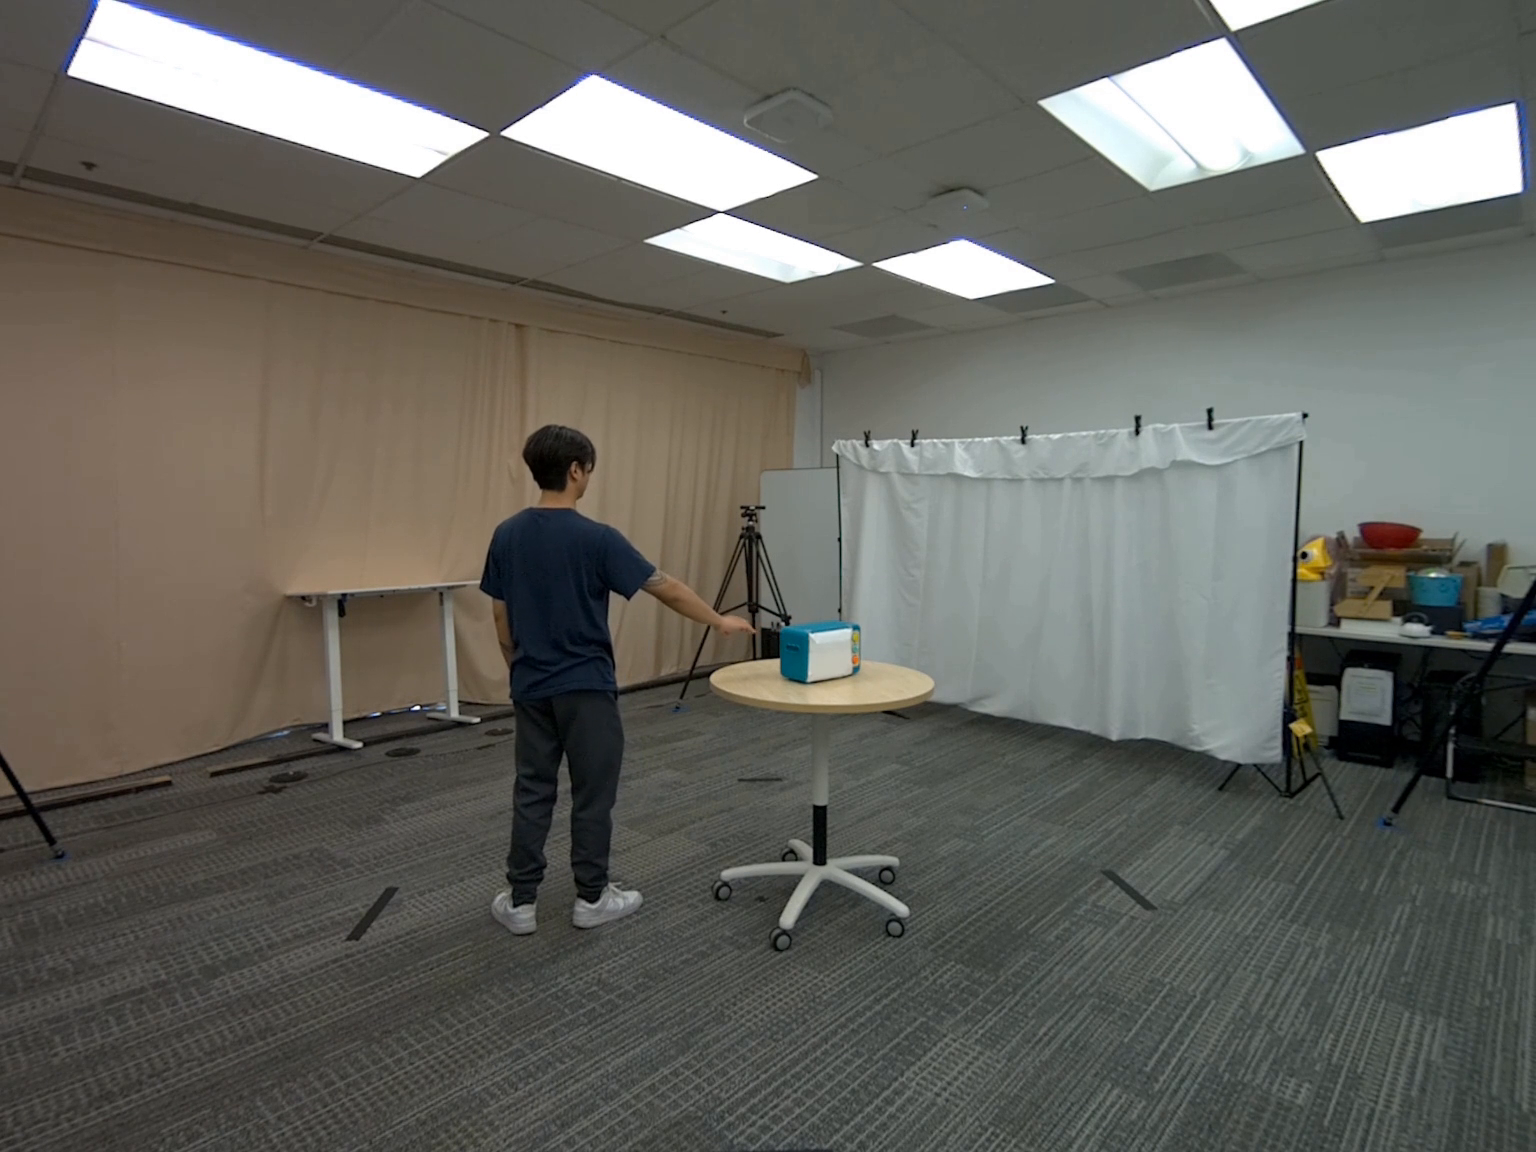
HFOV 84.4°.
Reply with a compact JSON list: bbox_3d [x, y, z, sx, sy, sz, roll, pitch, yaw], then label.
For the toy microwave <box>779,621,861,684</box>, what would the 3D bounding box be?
[{"bbox_3d":[0.196,0.262,2.919,0.277,0.184,0.157,-4,5,-39],"label":"toy microwave"}]
